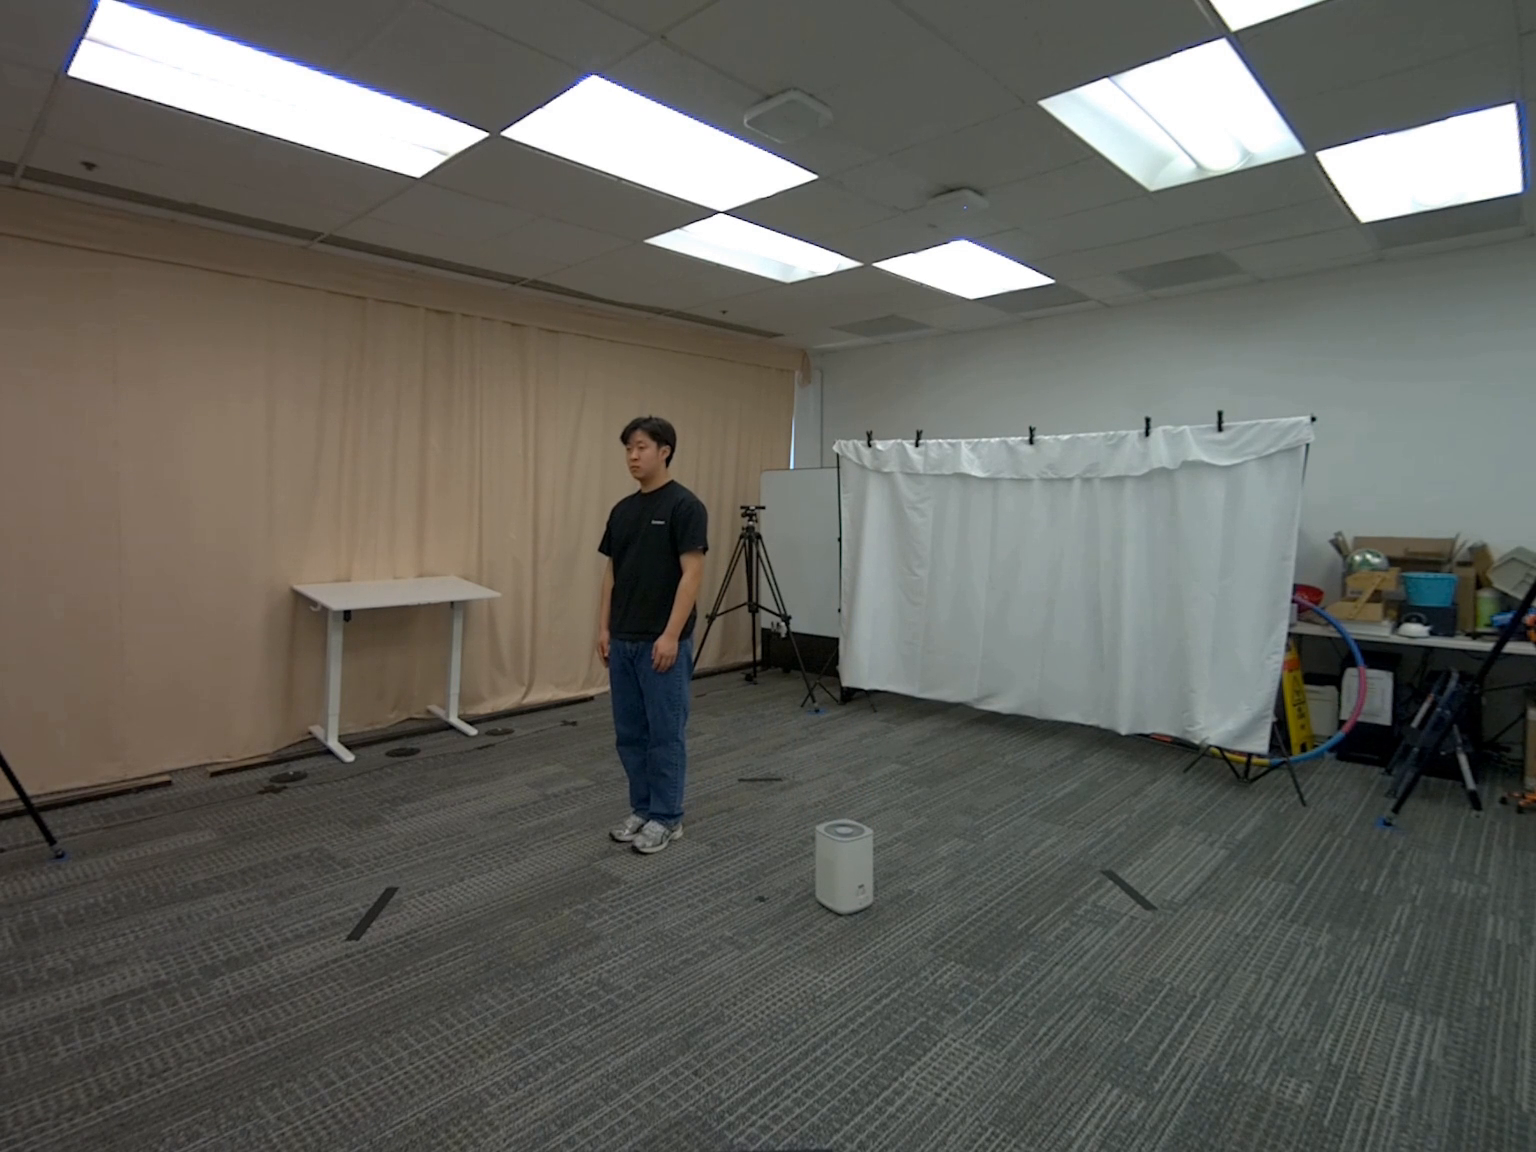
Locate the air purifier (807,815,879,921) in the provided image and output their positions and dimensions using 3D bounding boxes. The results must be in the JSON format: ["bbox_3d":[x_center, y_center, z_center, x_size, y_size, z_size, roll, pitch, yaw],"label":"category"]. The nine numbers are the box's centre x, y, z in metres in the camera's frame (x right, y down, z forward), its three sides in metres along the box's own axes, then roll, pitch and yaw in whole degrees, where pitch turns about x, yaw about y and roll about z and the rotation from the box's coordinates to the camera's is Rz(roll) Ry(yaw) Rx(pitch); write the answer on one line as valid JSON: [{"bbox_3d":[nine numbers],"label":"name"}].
[{"bbox_3d":[0.259,1.005,2.937,0.166,0.265,0.177,-3,4,-39],"label":"air purifier"}]
